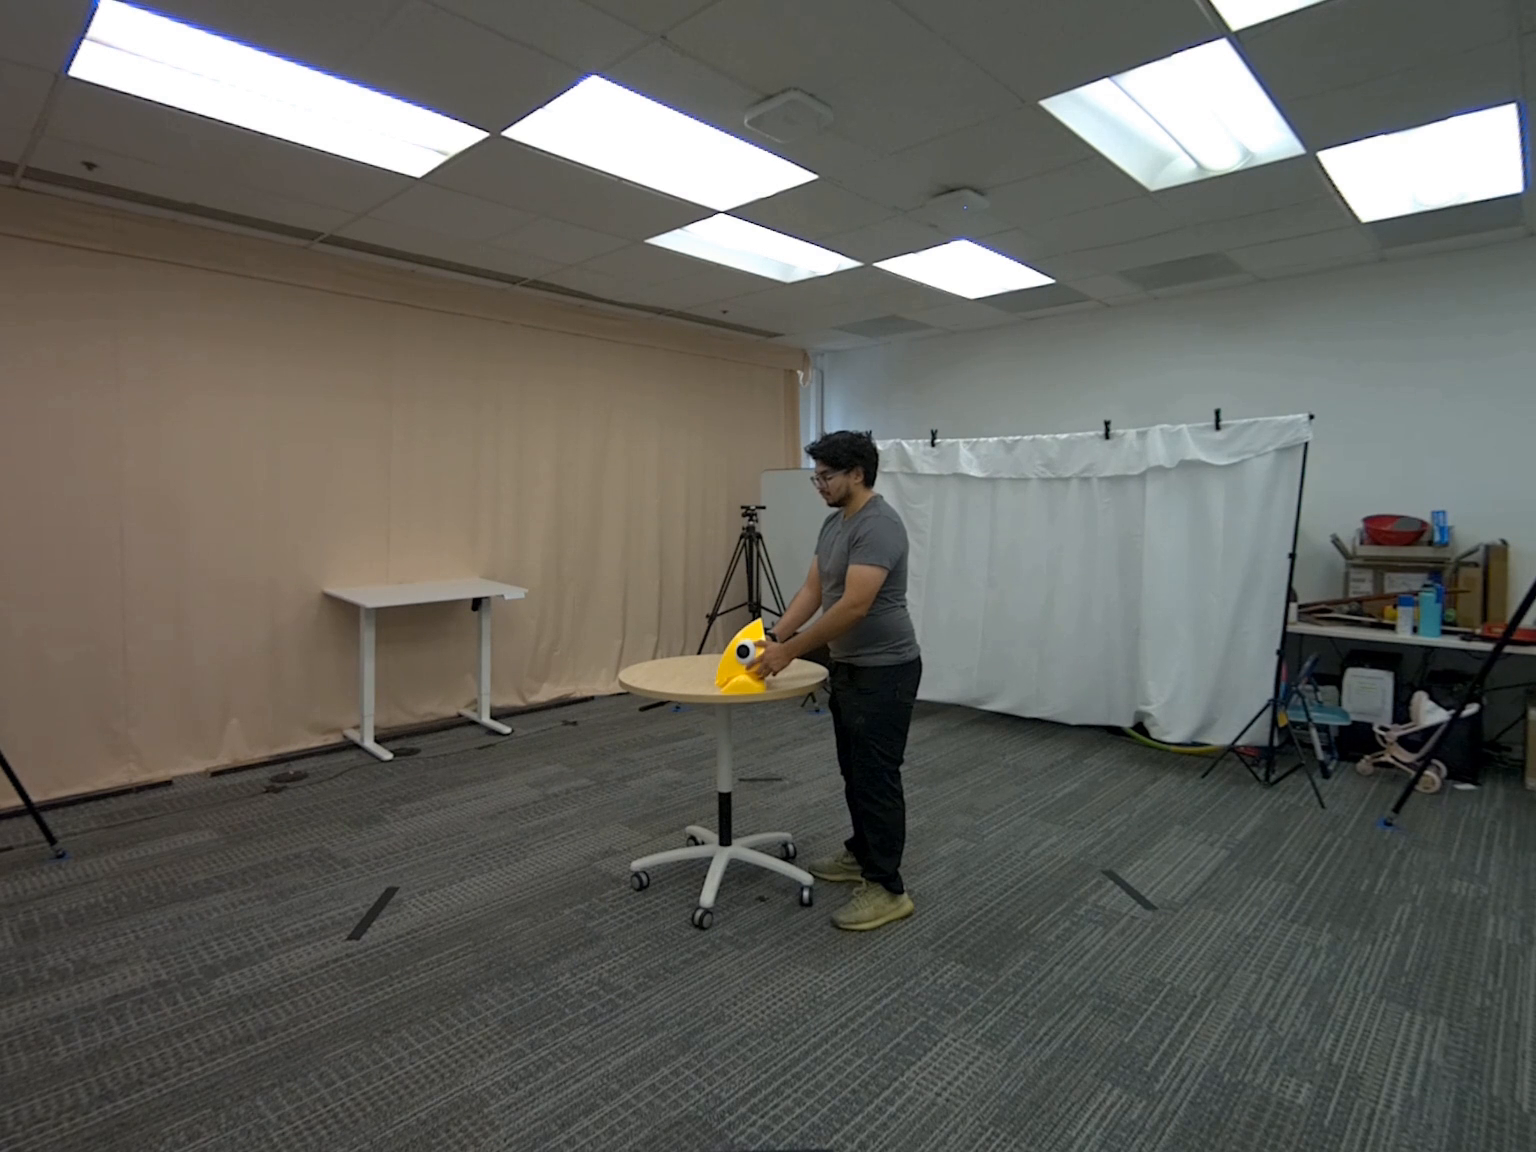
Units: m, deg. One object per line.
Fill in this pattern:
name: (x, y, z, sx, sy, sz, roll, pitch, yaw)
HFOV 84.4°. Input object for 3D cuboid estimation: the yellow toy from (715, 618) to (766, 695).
yellow toy: (-0.077, 0.260, 2.813, 0.191, 0.230, 0.207, -2, 2, -11)
